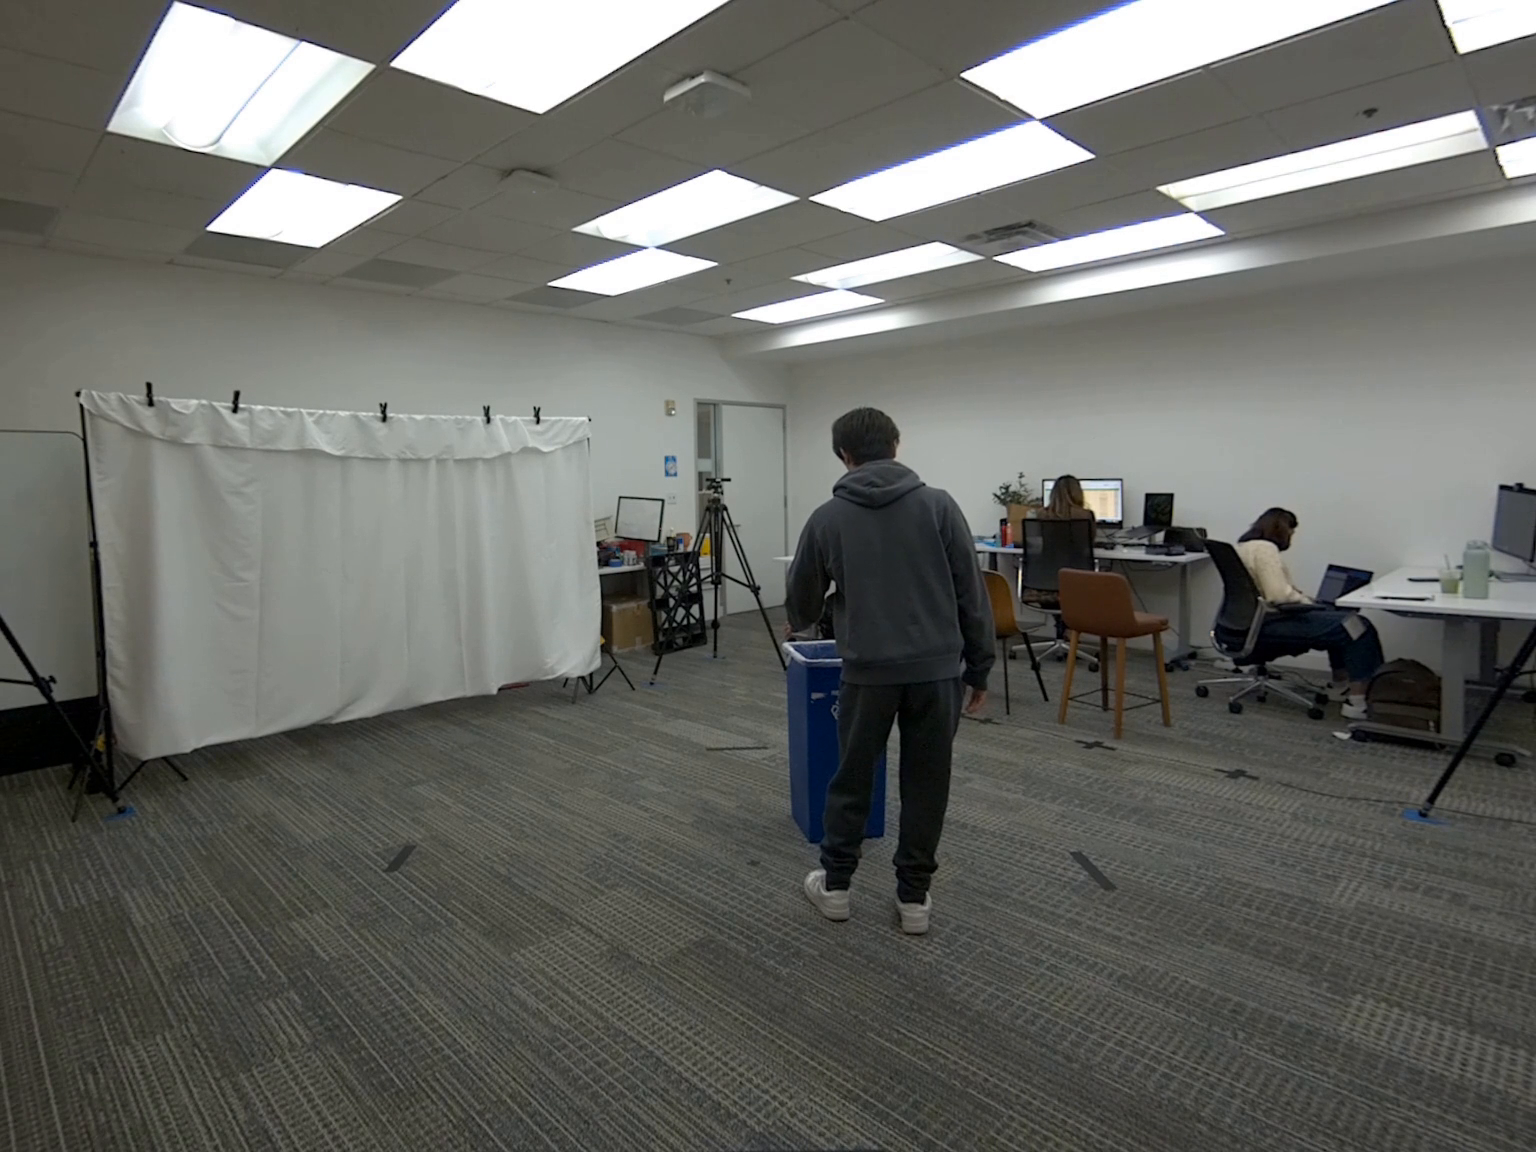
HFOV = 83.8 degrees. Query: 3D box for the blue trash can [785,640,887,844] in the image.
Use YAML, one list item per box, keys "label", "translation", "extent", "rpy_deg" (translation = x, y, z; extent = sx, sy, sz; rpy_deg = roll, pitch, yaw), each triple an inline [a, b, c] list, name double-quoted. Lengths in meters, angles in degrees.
- label: "blue trash can"
  translation: [0.278, 0.644, 3.413]
  extent: [0.370, 0.711, 0.383]
  rpy_deg: [-2, 5, -11]
